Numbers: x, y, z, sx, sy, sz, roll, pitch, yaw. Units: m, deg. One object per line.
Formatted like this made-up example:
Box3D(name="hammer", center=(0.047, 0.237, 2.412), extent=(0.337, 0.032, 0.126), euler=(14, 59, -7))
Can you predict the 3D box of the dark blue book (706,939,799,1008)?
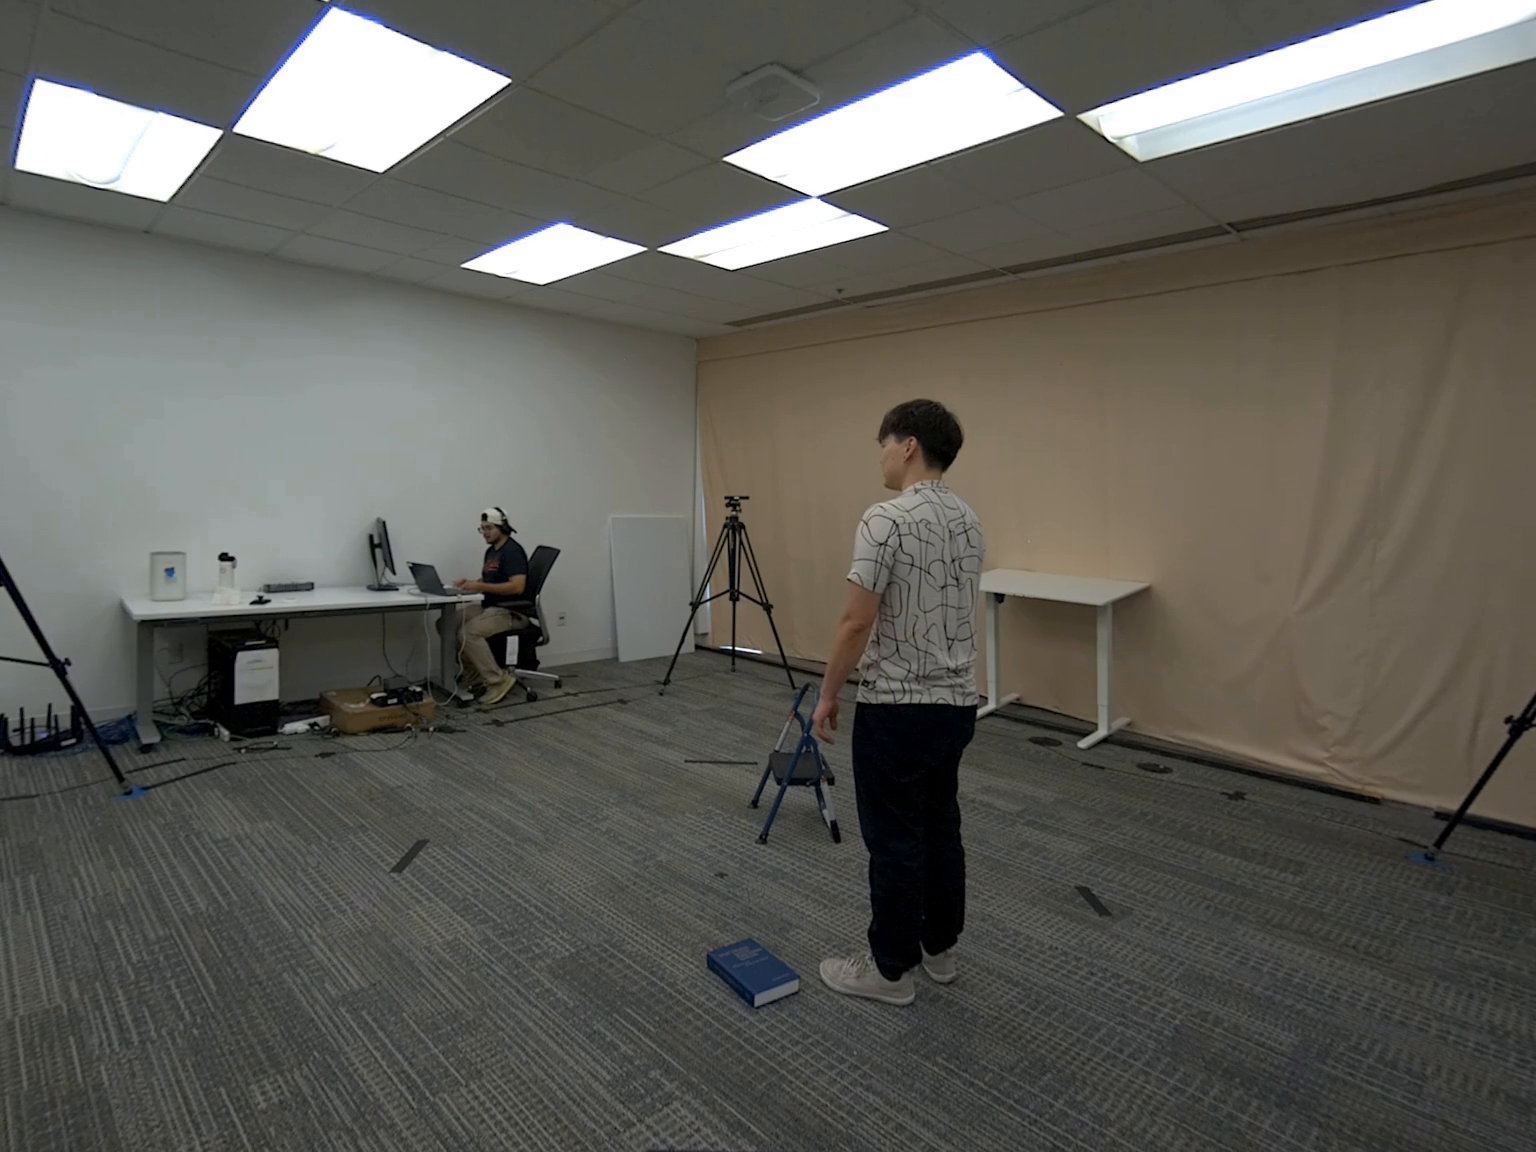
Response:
Box3D(name="dark blue book", center=(-0.046, 1.145, 2.434), extent=(0.160, 0.045, 0.251), euler=(-2, 6, -36))
